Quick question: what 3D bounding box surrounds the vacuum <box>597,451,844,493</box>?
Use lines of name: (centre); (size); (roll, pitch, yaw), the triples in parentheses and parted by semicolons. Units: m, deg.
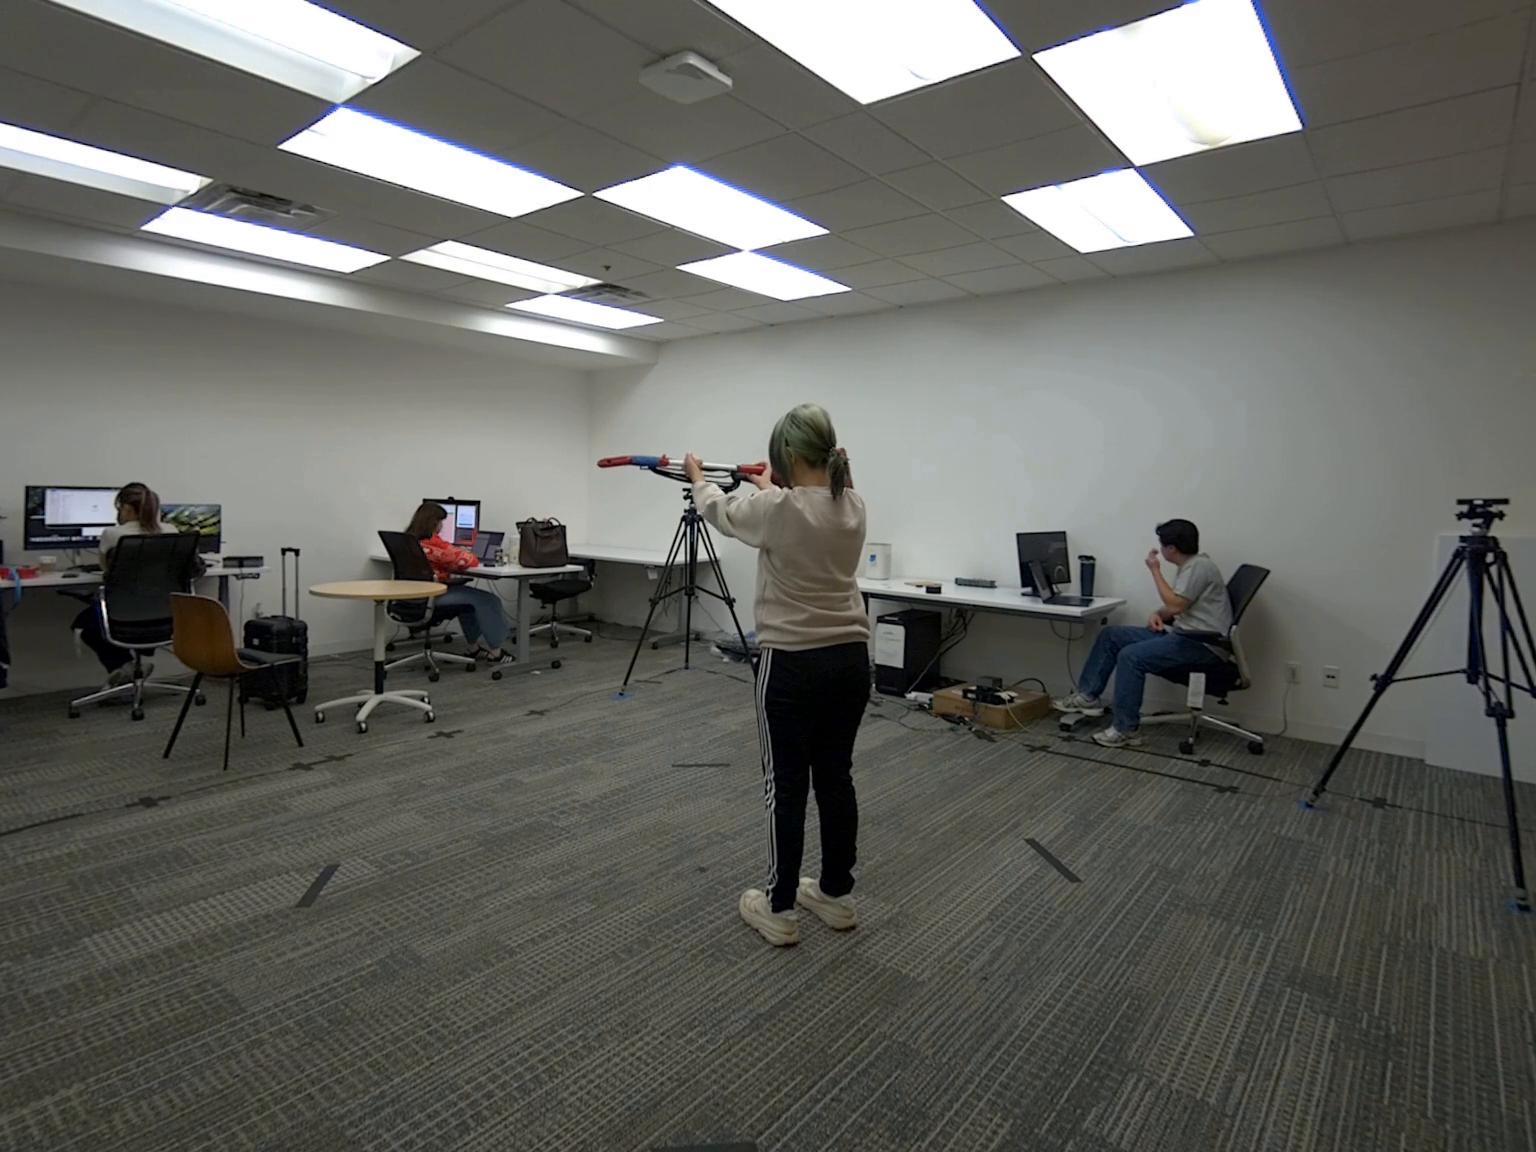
vacuum: (-0.140, -0.379, 3.147); (1.018, 0.257, 0.145); (-1, -20, -35)
